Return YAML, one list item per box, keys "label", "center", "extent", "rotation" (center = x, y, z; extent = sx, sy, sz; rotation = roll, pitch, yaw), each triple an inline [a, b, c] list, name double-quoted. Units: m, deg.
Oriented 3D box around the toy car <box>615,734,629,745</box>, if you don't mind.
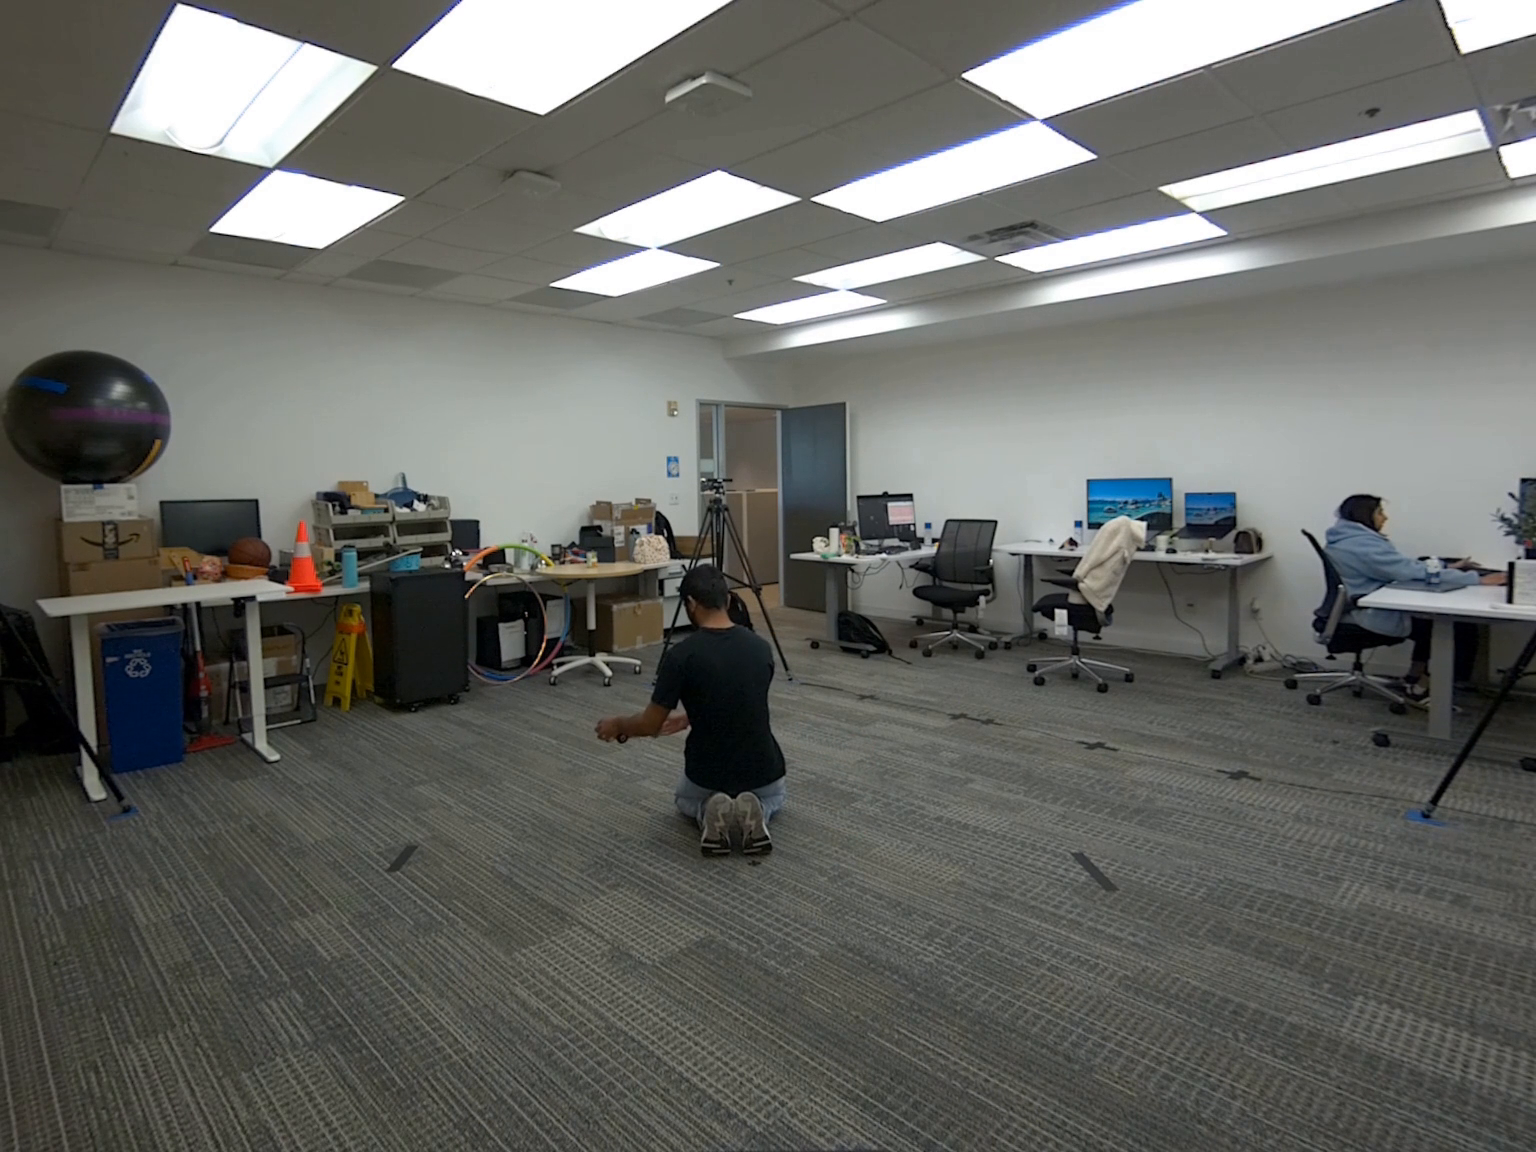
- label: "toy car"
  center: [-0.566, 0.652, 3.580]
  extent: [0.248, 0.083, 0.134]
  rotation: [8, 3, -25]
